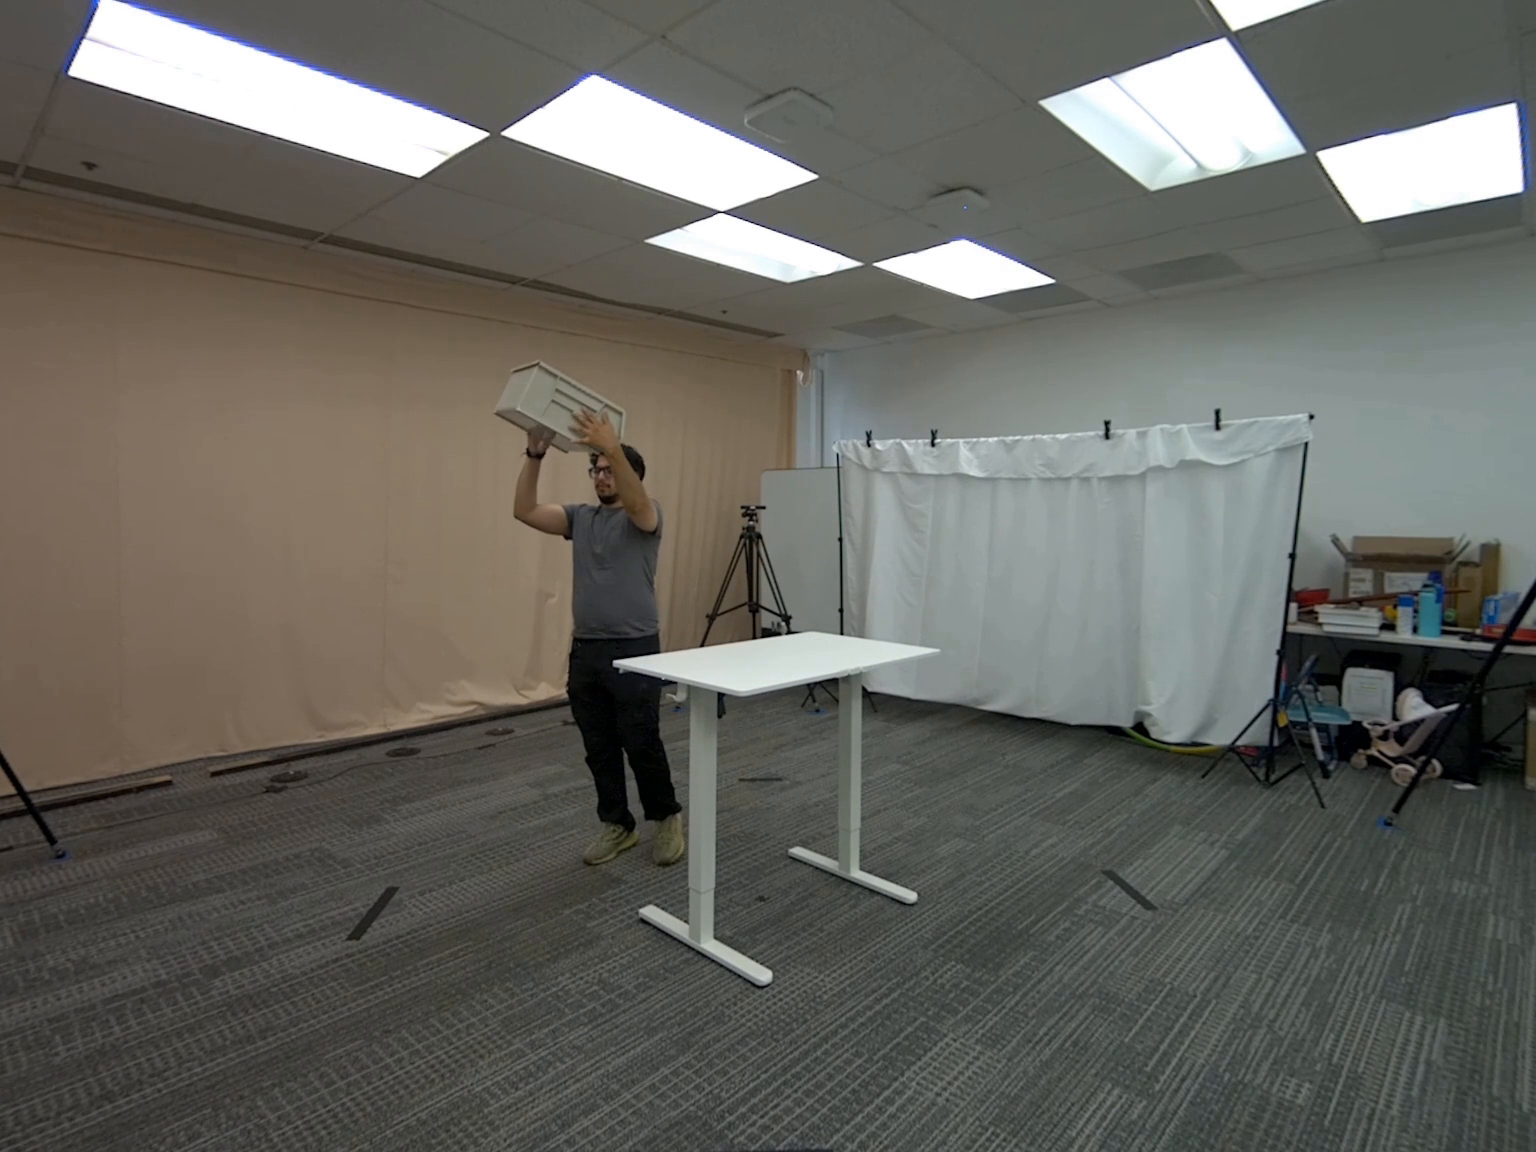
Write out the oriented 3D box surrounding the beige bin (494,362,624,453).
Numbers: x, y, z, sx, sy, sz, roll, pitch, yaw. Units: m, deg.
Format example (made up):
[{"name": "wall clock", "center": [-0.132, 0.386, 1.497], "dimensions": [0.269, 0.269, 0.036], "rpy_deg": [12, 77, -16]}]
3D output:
[{"name": "beige bin", "center": [-0.747, -0.581, 3.009], "dimensions": [0.366, 0.189, 0.435], "rpy_deg": [27, -5, -28]}]
